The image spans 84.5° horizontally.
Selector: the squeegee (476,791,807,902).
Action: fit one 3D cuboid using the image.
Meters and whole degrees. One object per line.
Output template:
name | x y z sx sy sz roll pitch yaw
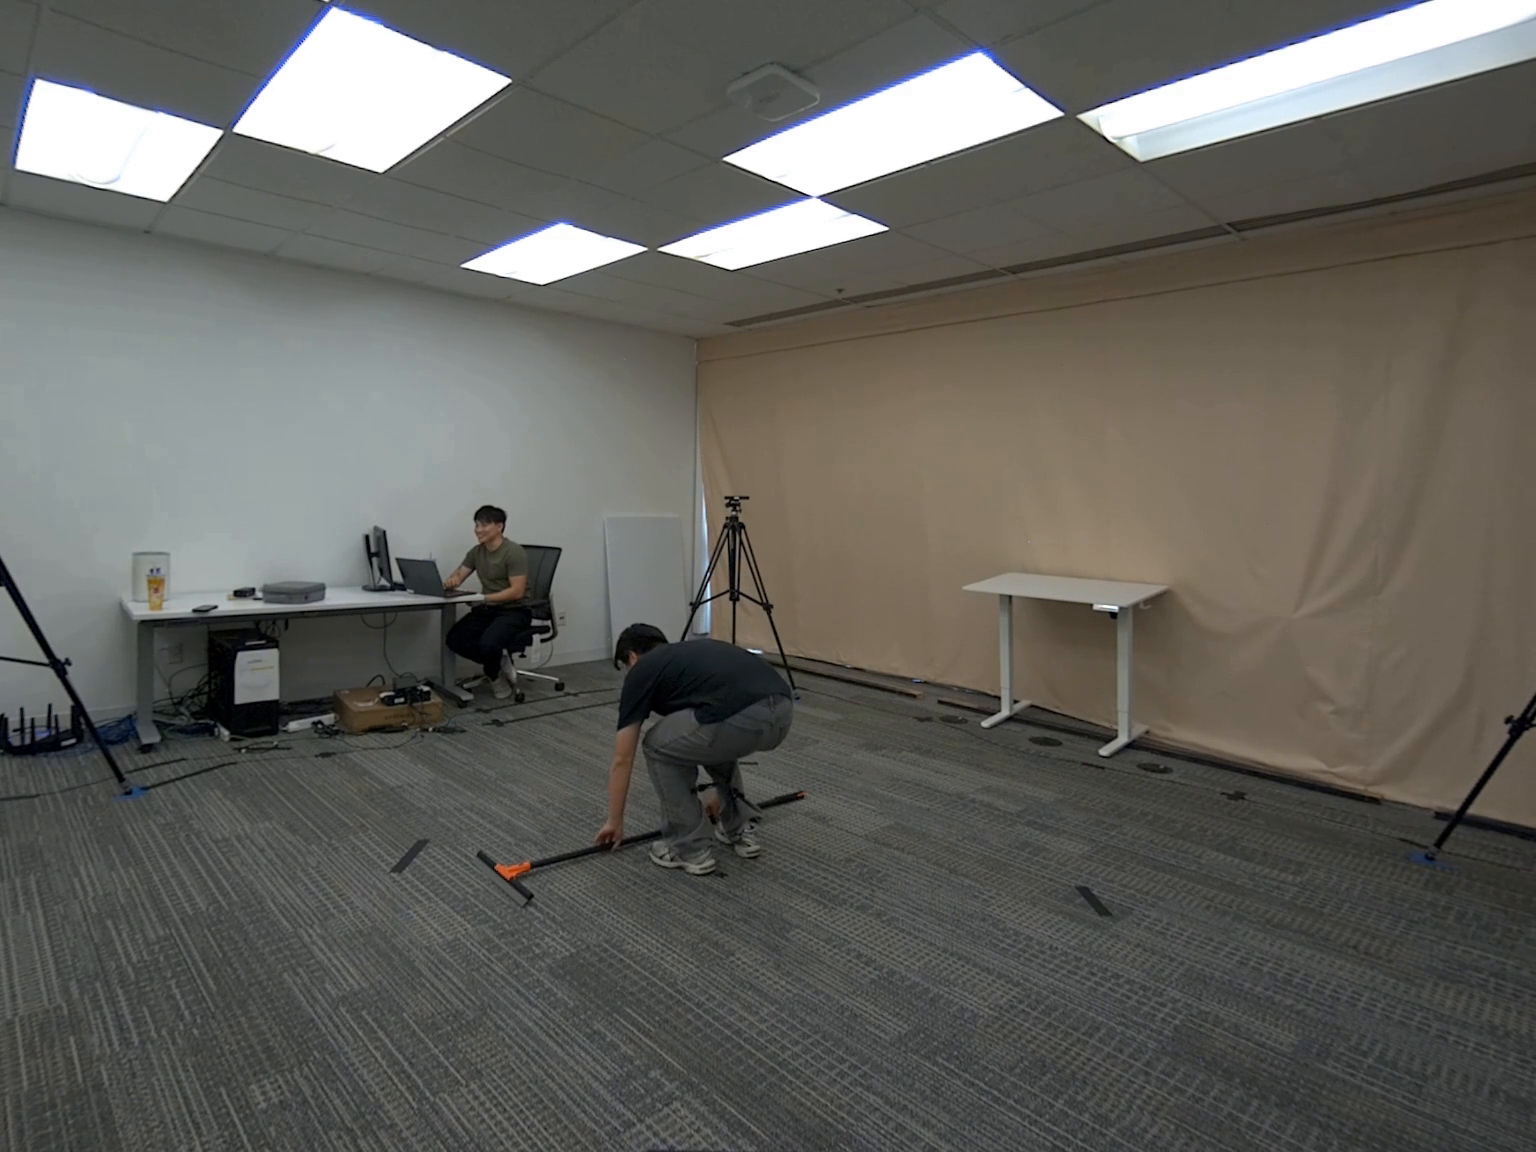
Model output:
squeegee | -0.403 1.030 3.473 1.502 0.053 0.449 -2 6 -40
